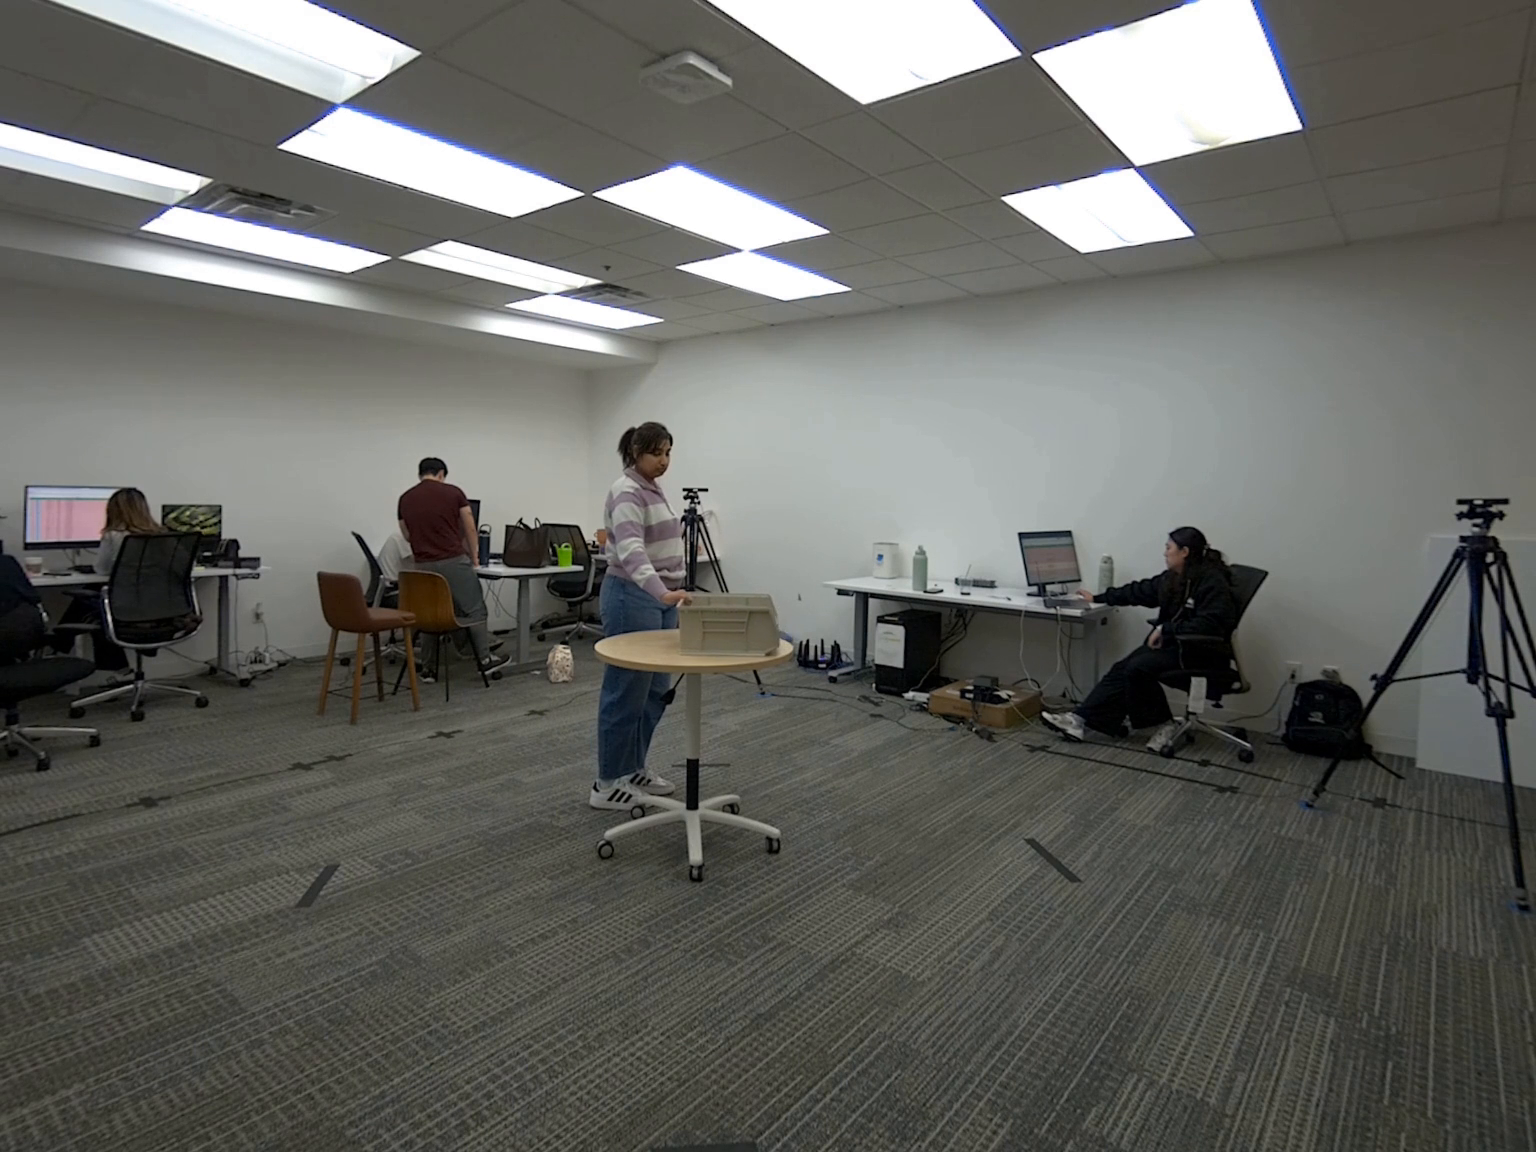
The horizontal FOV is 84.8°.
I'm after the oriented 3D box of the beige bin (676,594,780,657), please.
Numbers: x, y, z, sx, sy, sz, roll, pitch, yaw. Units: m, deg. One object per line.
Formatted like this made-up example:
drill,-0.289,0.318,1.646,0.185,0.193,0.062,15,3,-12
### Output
beige bin,-0.155,0.179,3.287,0.378,0.188,0.424,-1,6,1
